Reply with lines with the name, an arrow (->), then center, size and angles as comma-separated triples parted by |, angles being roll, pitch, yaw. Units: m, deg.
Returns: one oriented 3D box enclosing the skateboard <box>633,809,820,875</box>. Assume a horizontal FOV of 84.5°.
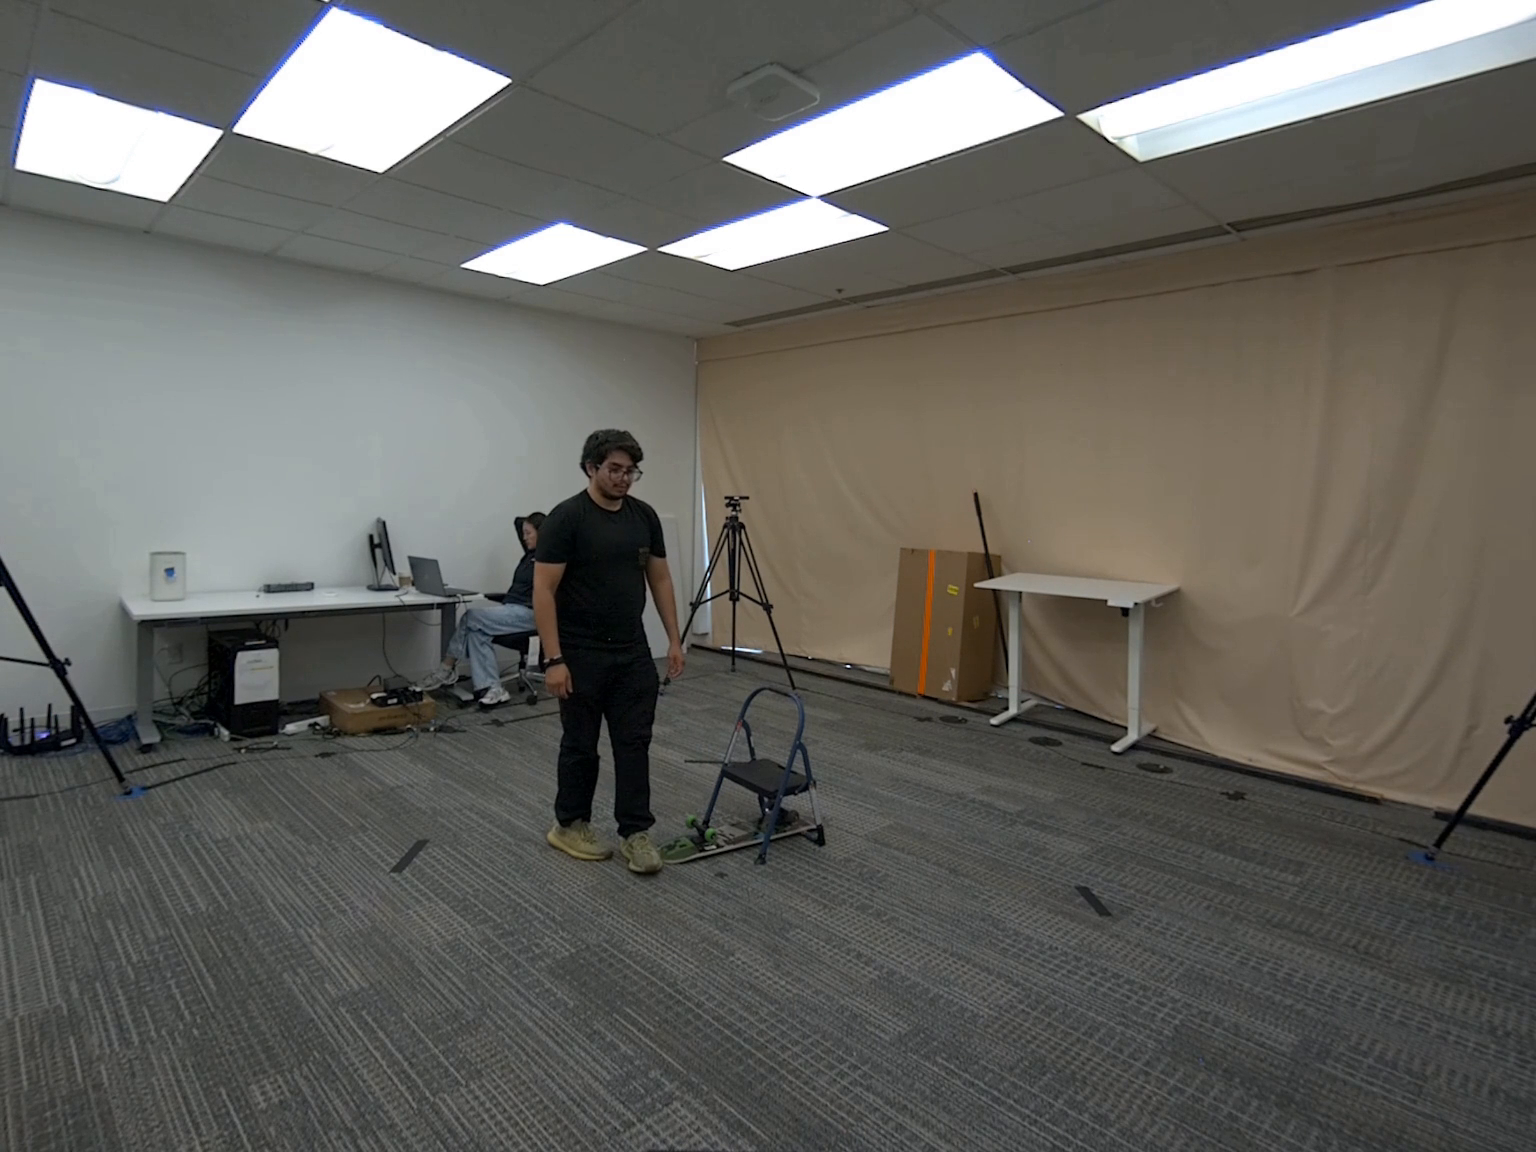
skateboard -> -0.119, 1.027, 3.440 | 0.769, 0.110, 0.198 | -3, 8, -34
